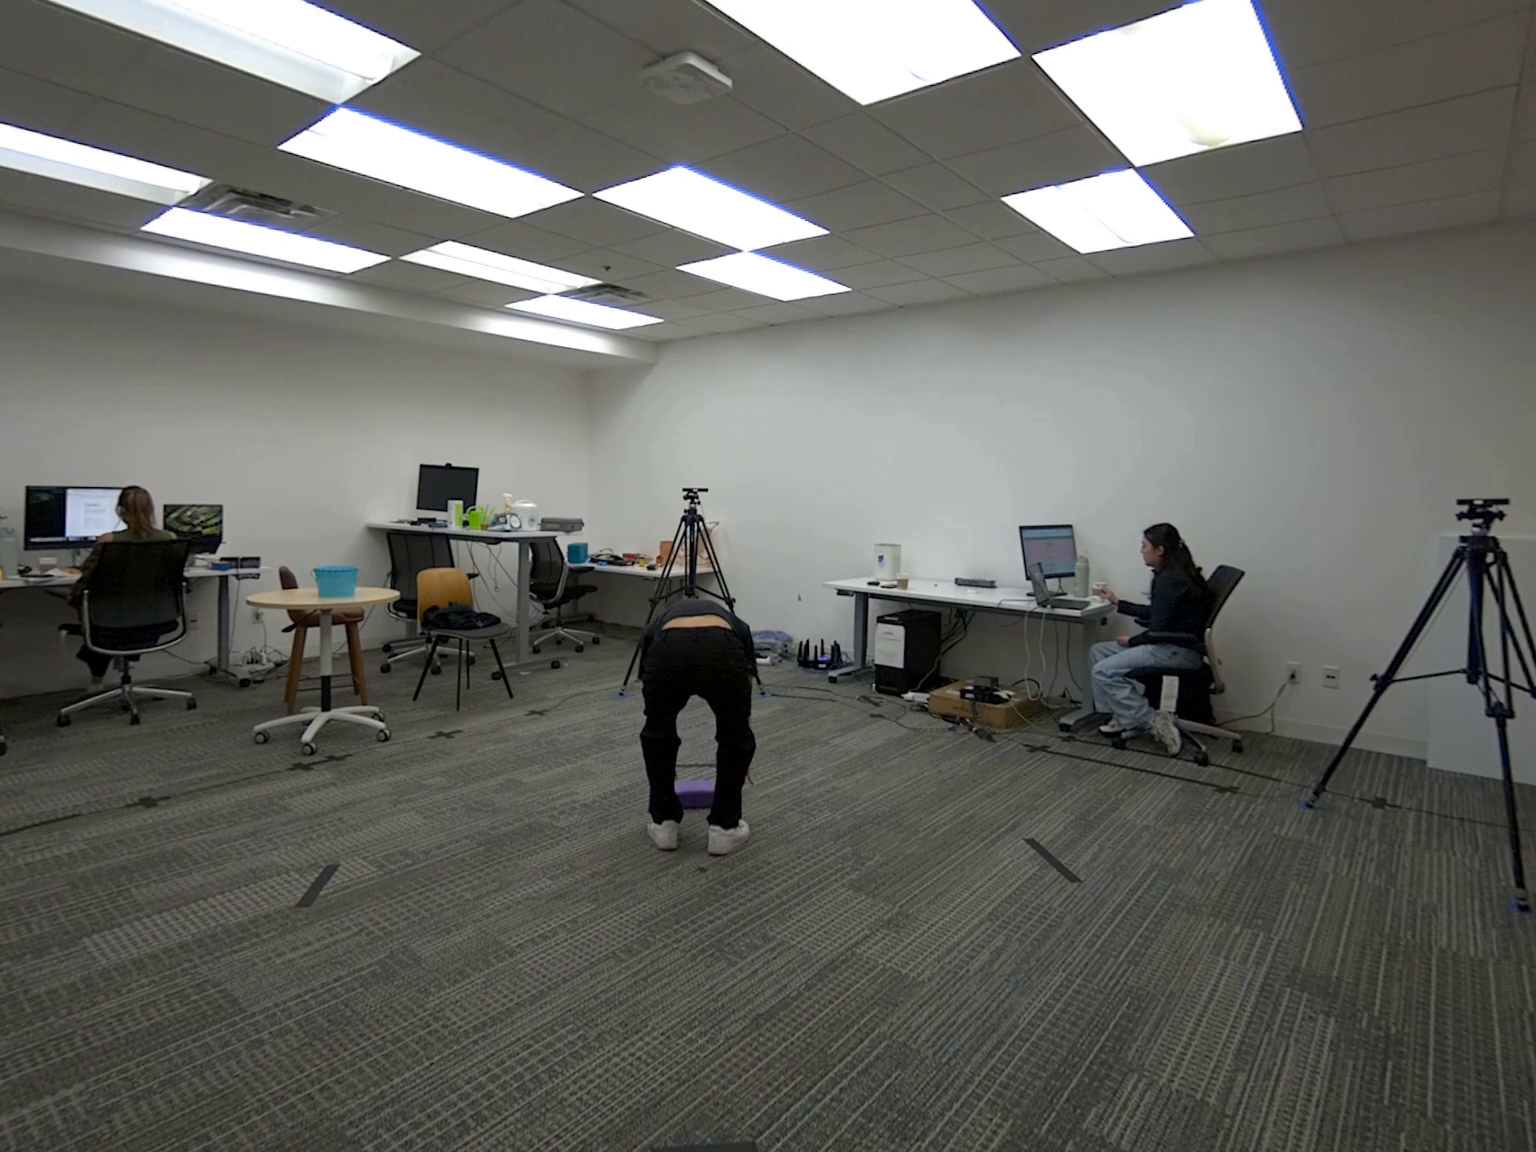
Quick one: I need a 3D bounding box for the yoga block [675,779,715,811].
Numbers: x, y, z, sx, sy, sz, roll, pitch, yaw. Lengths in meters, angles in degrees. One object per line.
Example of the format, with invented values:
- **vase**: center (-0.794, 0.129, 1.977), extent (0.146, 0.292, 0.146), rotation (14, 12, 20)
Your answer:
- **yoga block**: center (-0.326, 0.956, 3.764), extent (0.227, 0.076, 0.151), rotation (-1, 5, -9)
